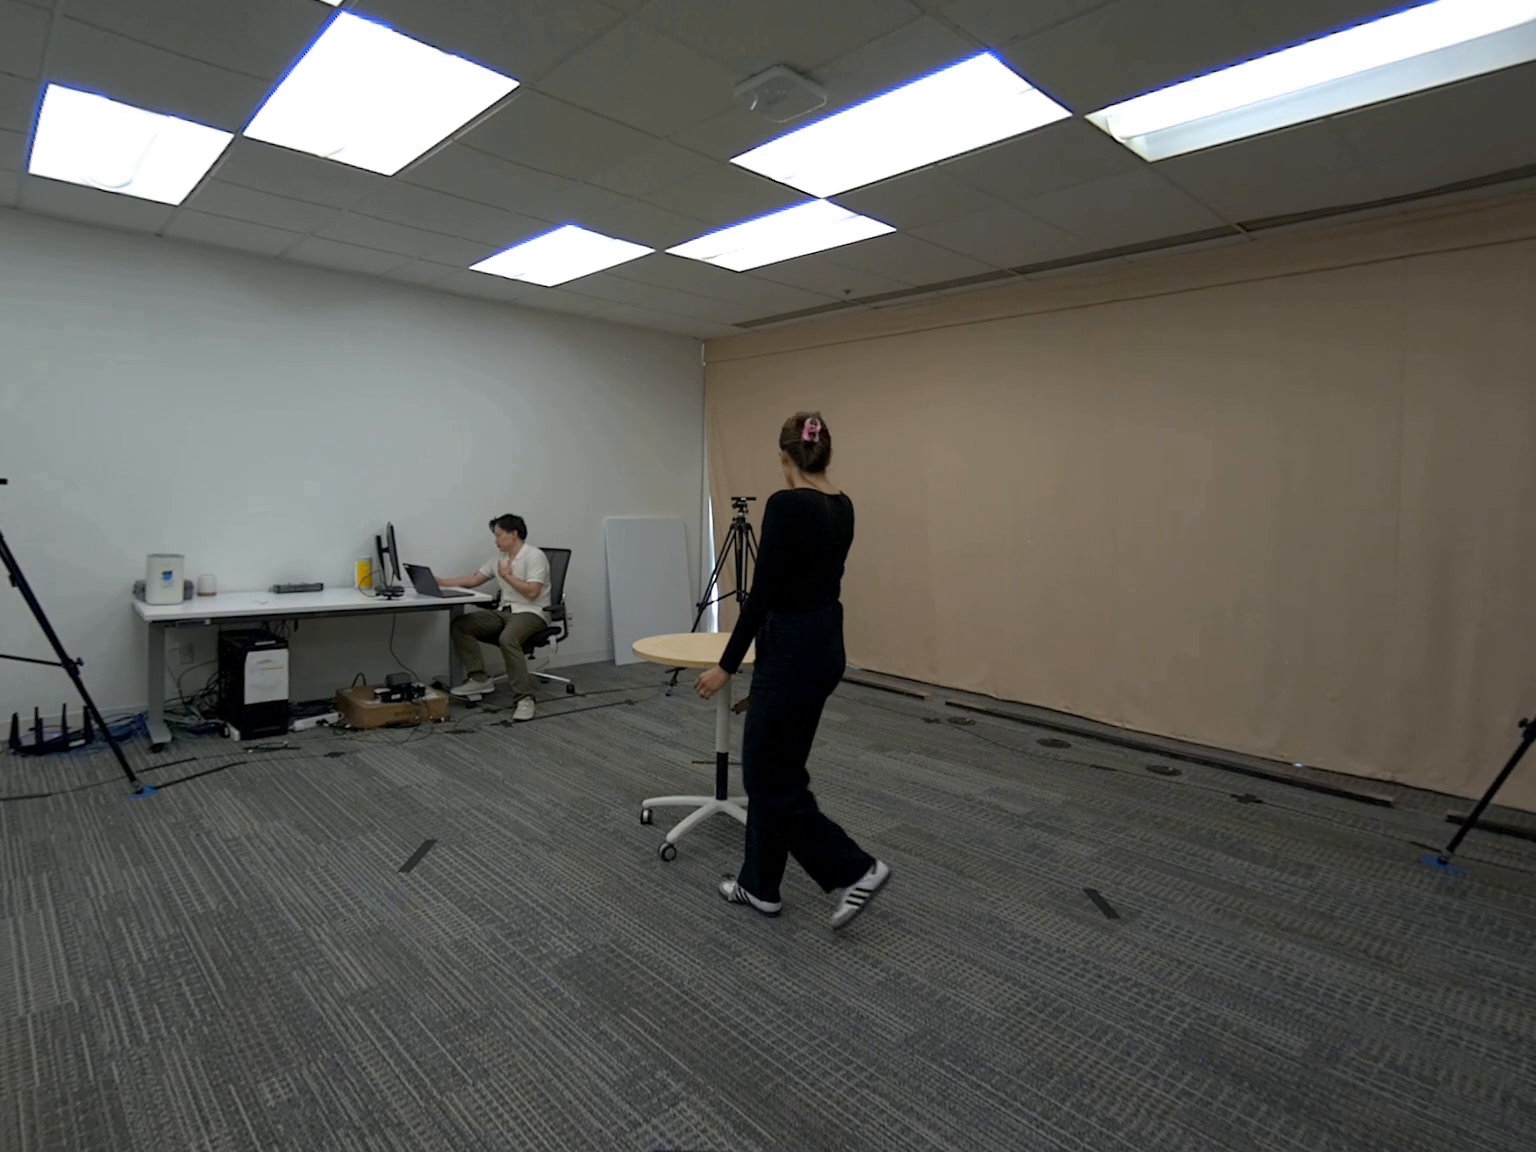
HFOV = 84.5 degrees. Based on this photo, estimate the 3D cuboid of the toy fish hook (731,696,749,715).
[{"bbox_3d":[0.004,0.404,3.361,0.510,0.228,0.047,-32,-21,37],"label":"toy fish hook"}]
